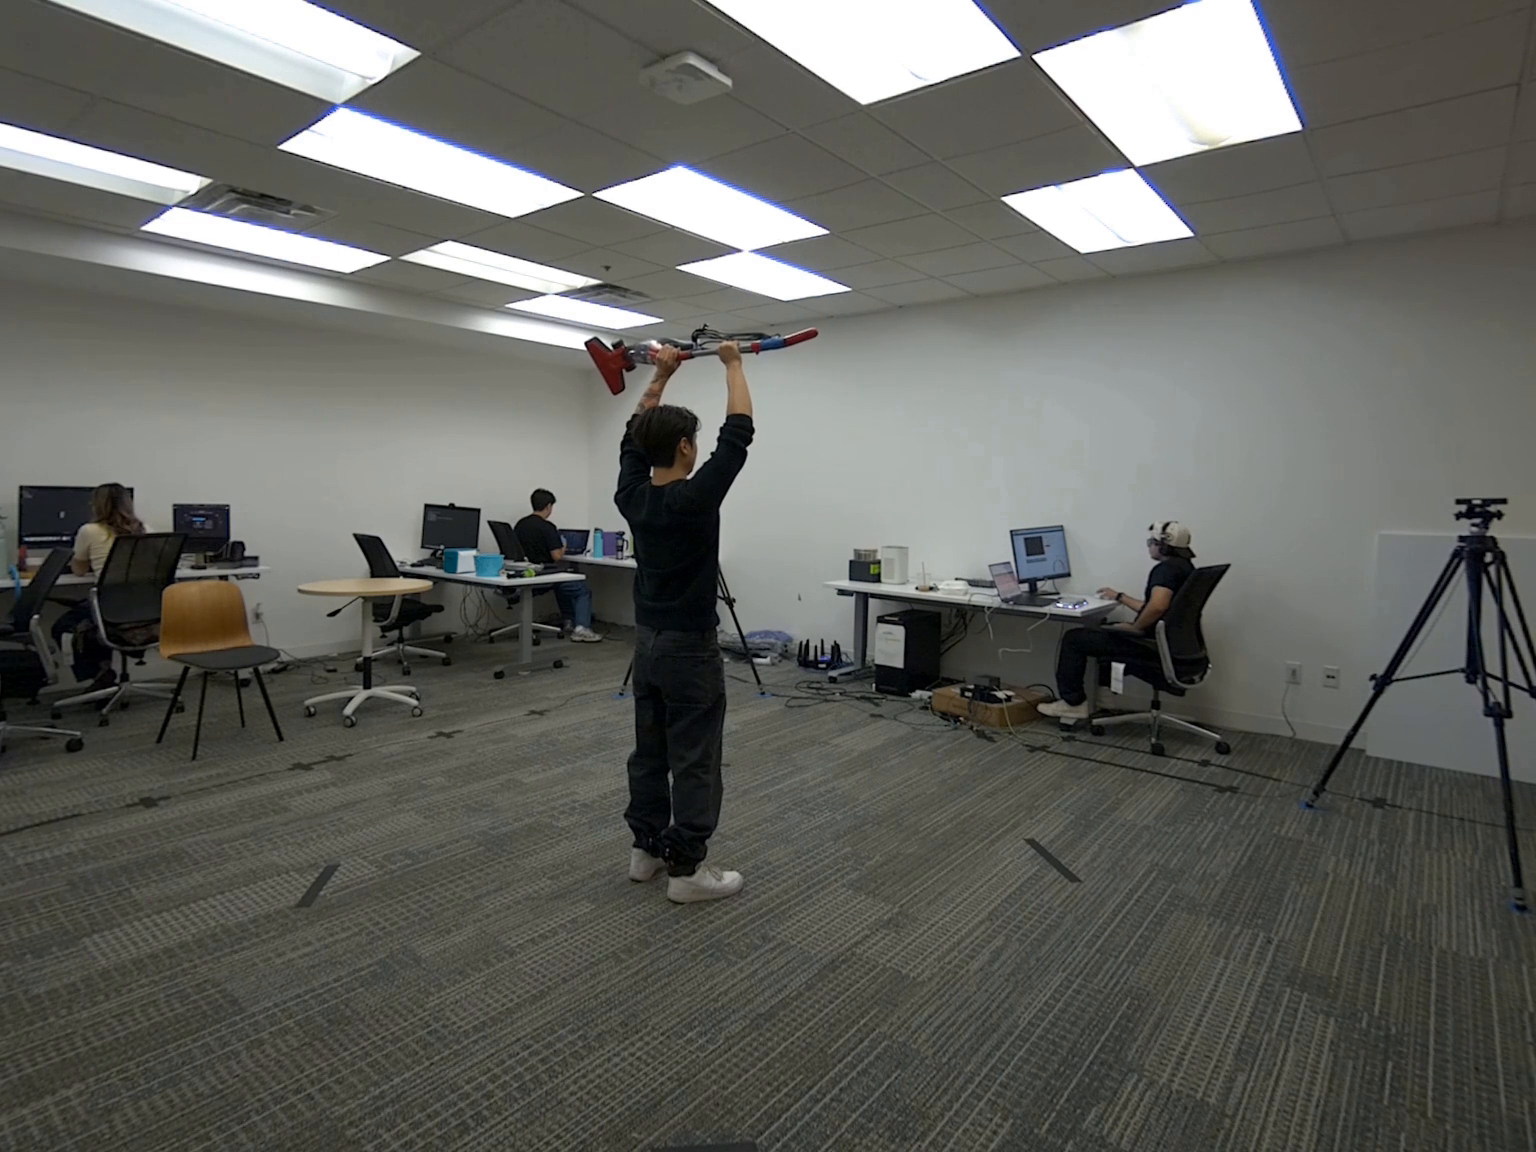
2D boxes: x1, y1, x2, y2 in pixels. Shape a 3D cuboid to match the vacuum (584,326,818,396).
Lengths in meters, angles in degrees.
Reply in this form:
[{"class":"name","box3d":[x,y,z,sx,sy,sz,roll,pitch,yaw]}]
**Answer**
[{"class":"vacuum","box3d":[-0.255,-0.836,3.101,1.085,0.244,0.144,6,43,42]}]
